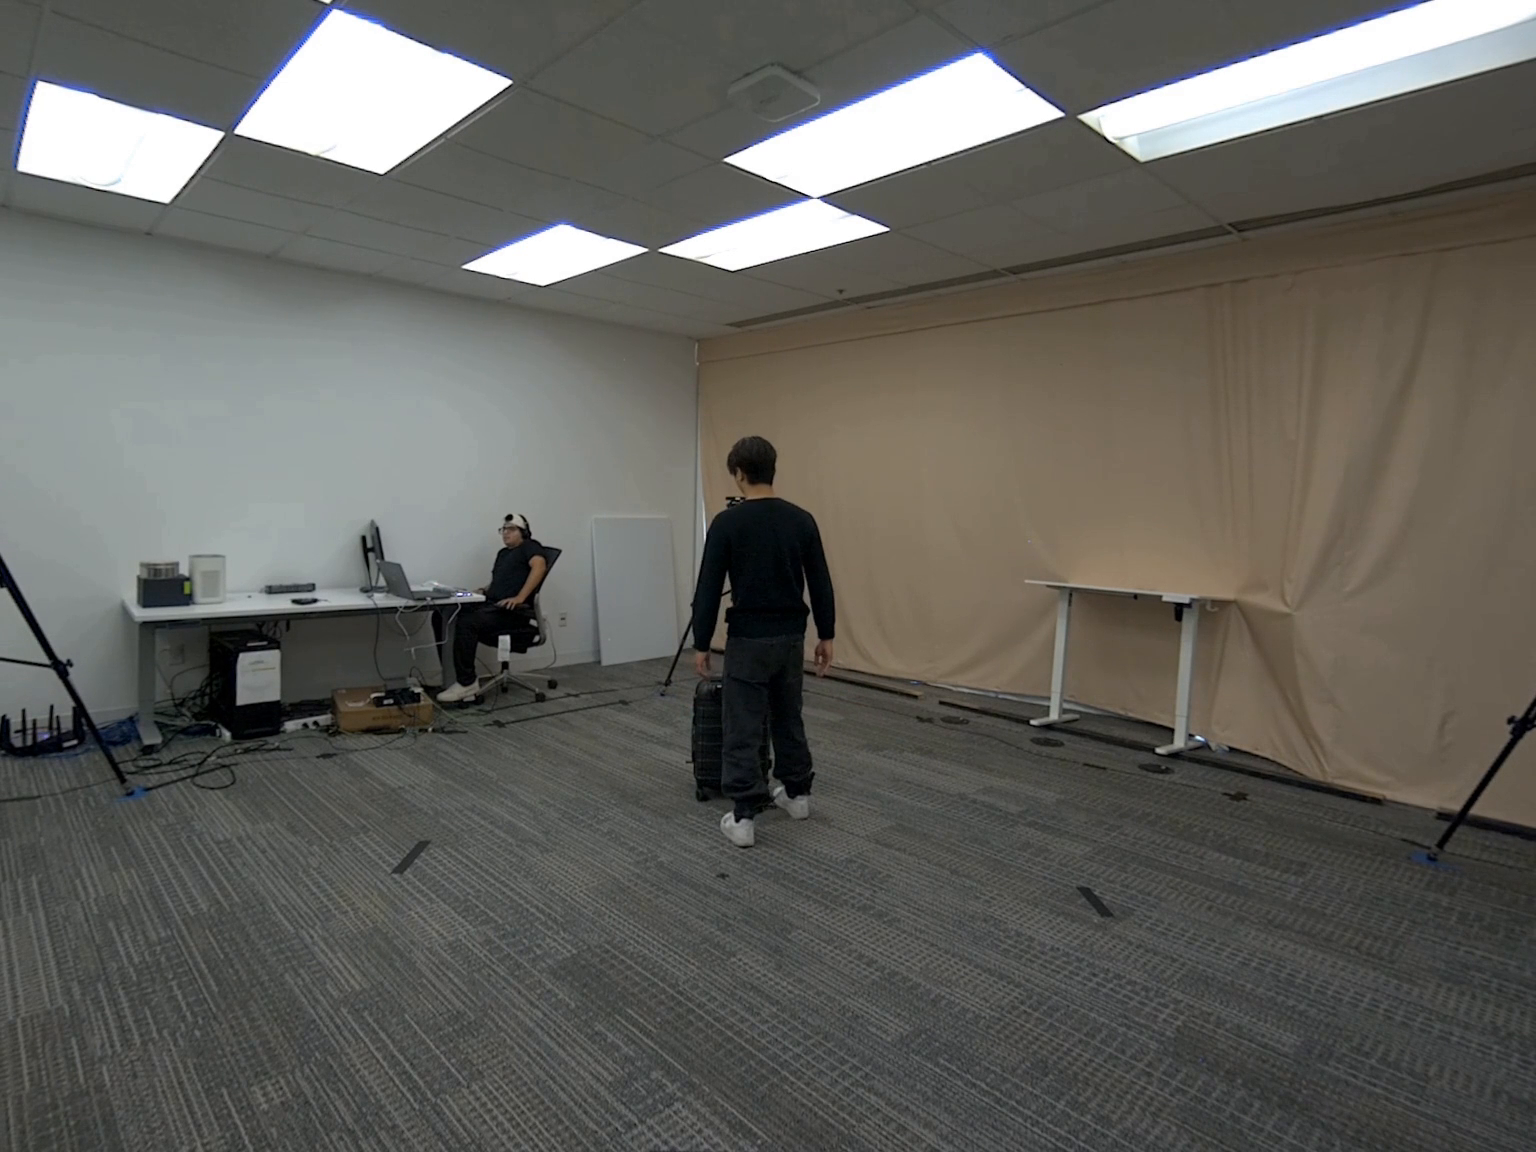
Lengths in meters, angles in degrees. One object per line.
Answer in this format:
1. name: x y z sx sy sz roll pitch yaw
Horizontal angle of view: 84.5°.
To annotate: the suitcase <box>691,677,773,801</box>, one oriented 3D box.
1. suitcase: -0.183 0.752 4.007 0.375 0.548 0.249 1 2 -2
